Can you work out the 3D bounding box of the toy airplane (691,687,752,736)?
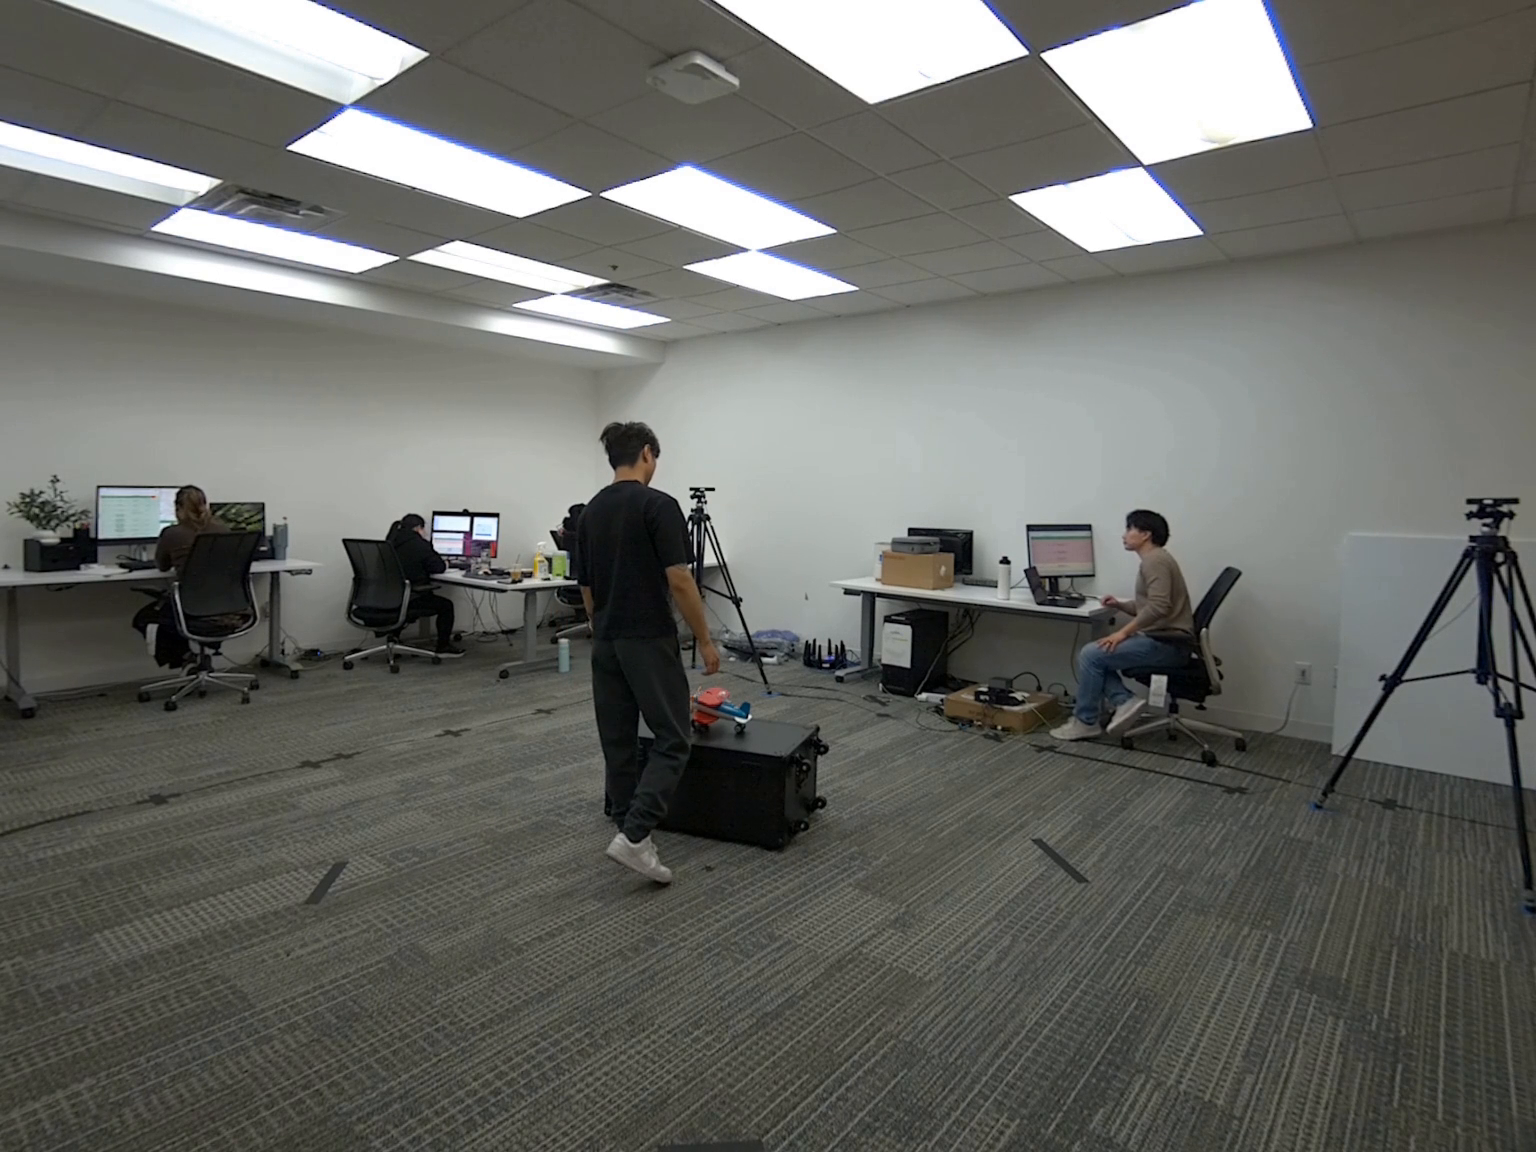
[{"bbox_3d":[-0.210,0.565,3.614,0.256,0.156,0.255,-1,5,-11],"label":"toy airplane"}]
